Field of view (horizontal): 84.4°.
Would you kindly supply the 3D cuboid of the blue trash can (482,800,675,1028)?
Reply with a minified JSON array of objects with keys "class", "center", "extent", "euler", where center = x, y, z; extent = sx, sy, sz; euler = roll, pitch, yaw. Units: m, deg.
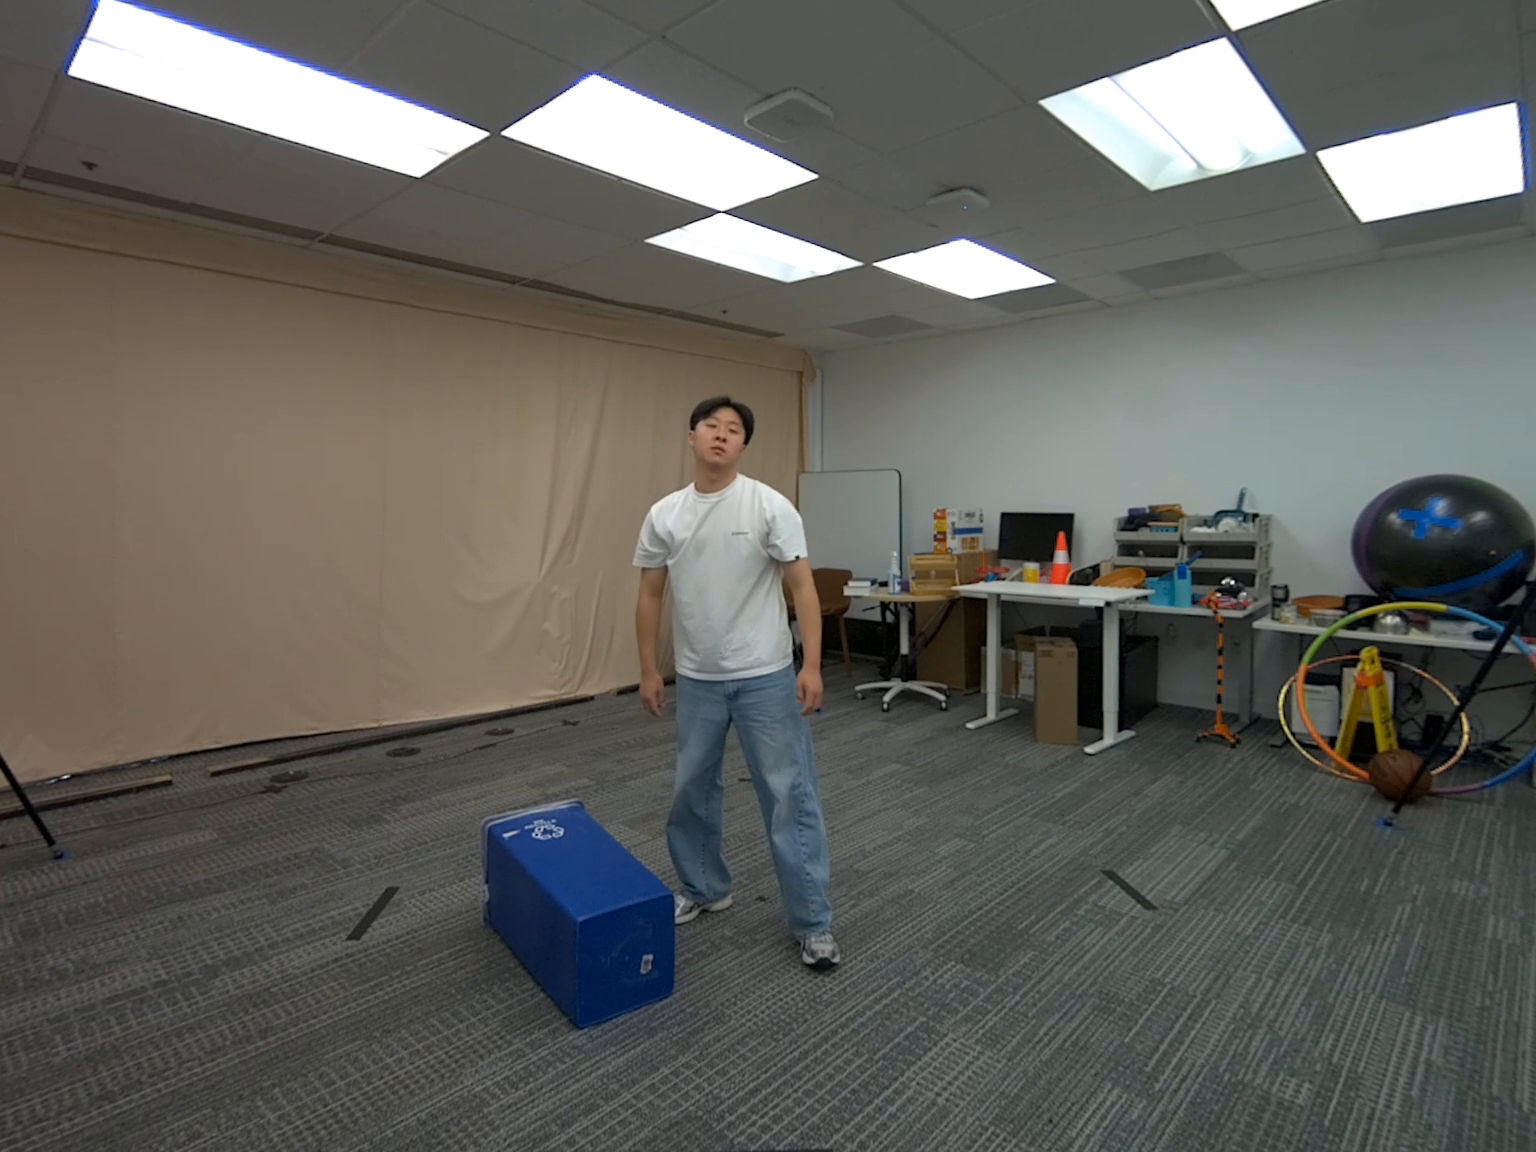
[{"class":"blue trash can","center":[-0.593,1.008,2.597],"extent":[0.367,0.373,0.736],"euler":[-3,6,-35]}]
